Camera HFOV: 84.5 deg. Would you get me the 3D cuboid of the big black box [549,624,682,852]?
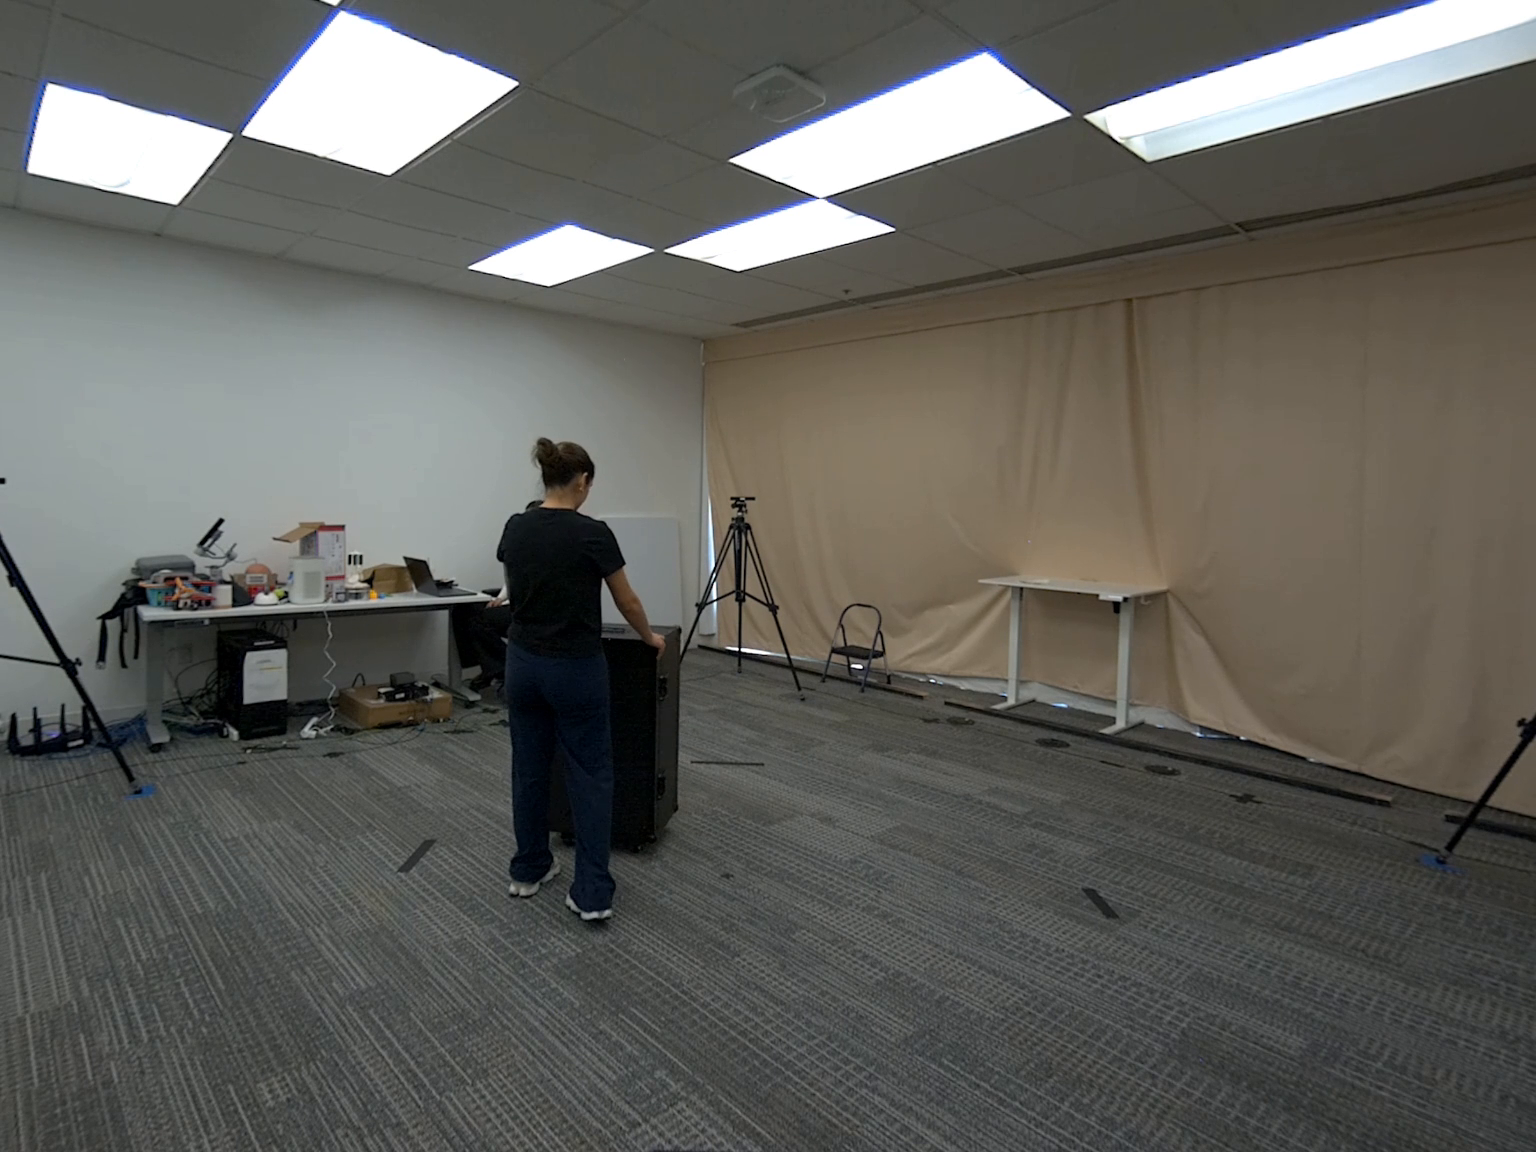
[{"bbox_3d":[-0.640,0.643,3.406,0.526,0.859,0.394,2,3,10],"label":"big black box"}]
